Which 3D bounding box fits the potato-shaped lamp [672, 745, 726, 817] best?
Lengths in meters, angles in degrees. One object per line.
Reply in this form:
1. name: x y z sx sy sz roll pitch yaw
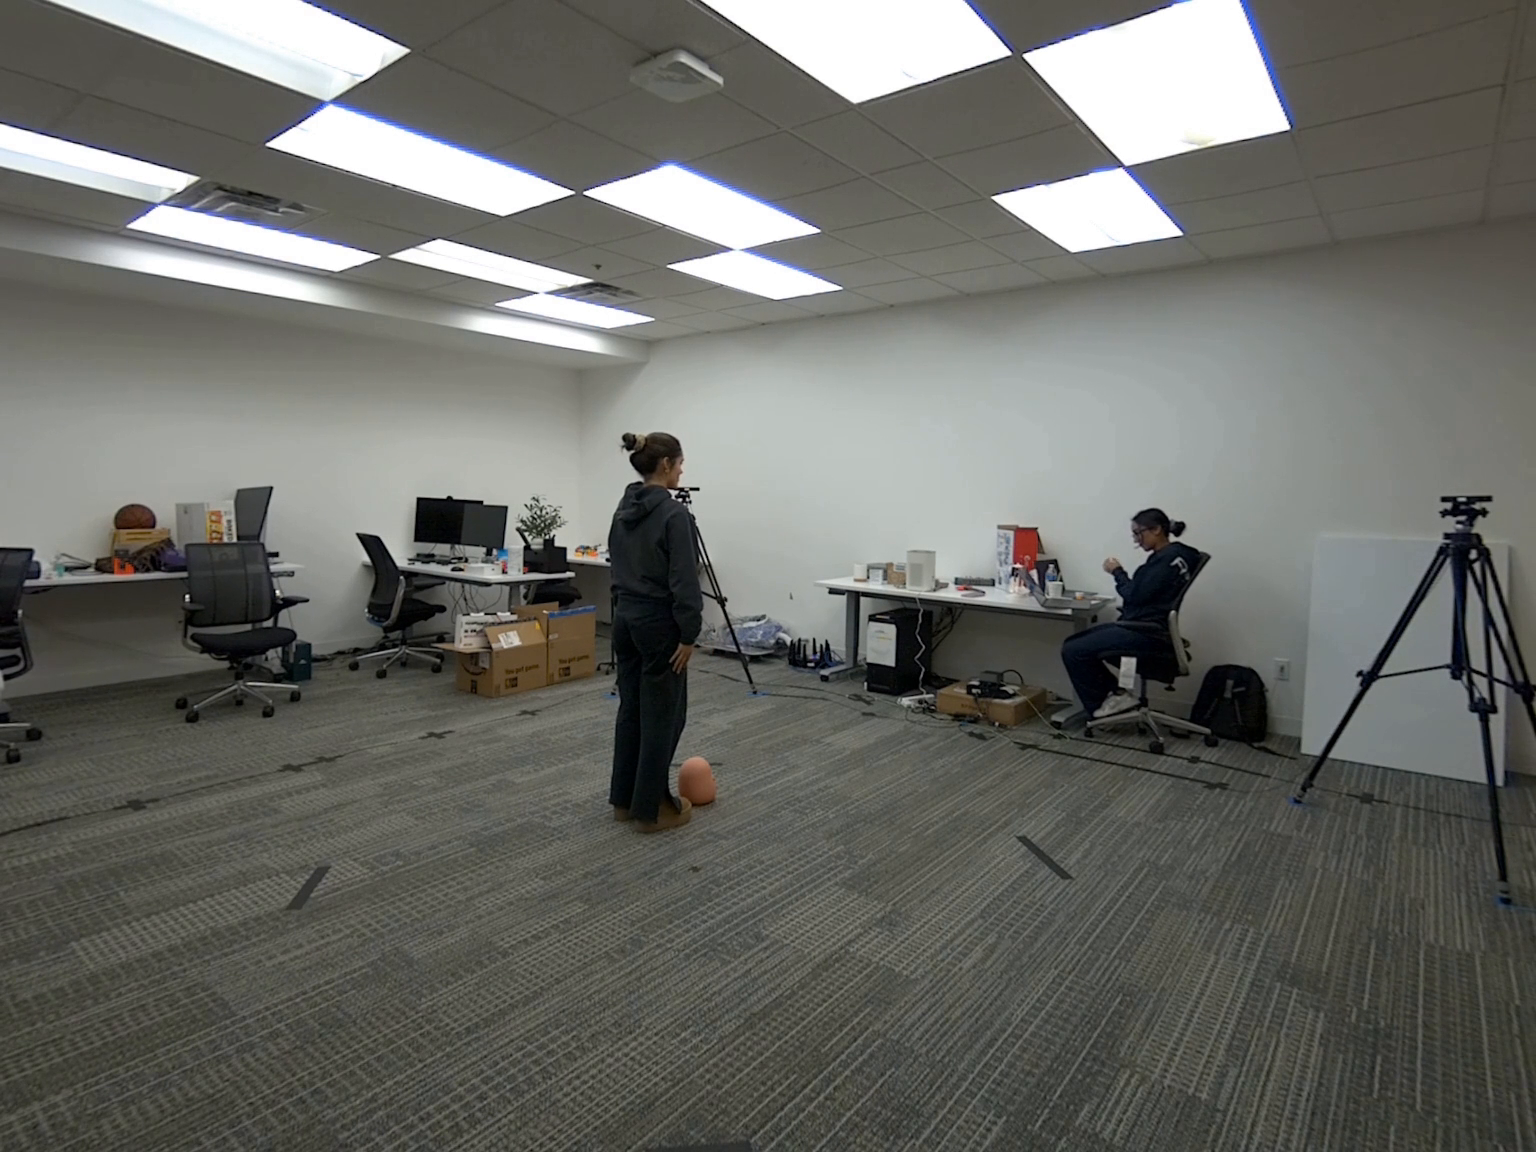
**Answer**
1. potato-shaped lamp: -0.311 0.917 3.775 0.177 0.193 0.163 19 33 27
